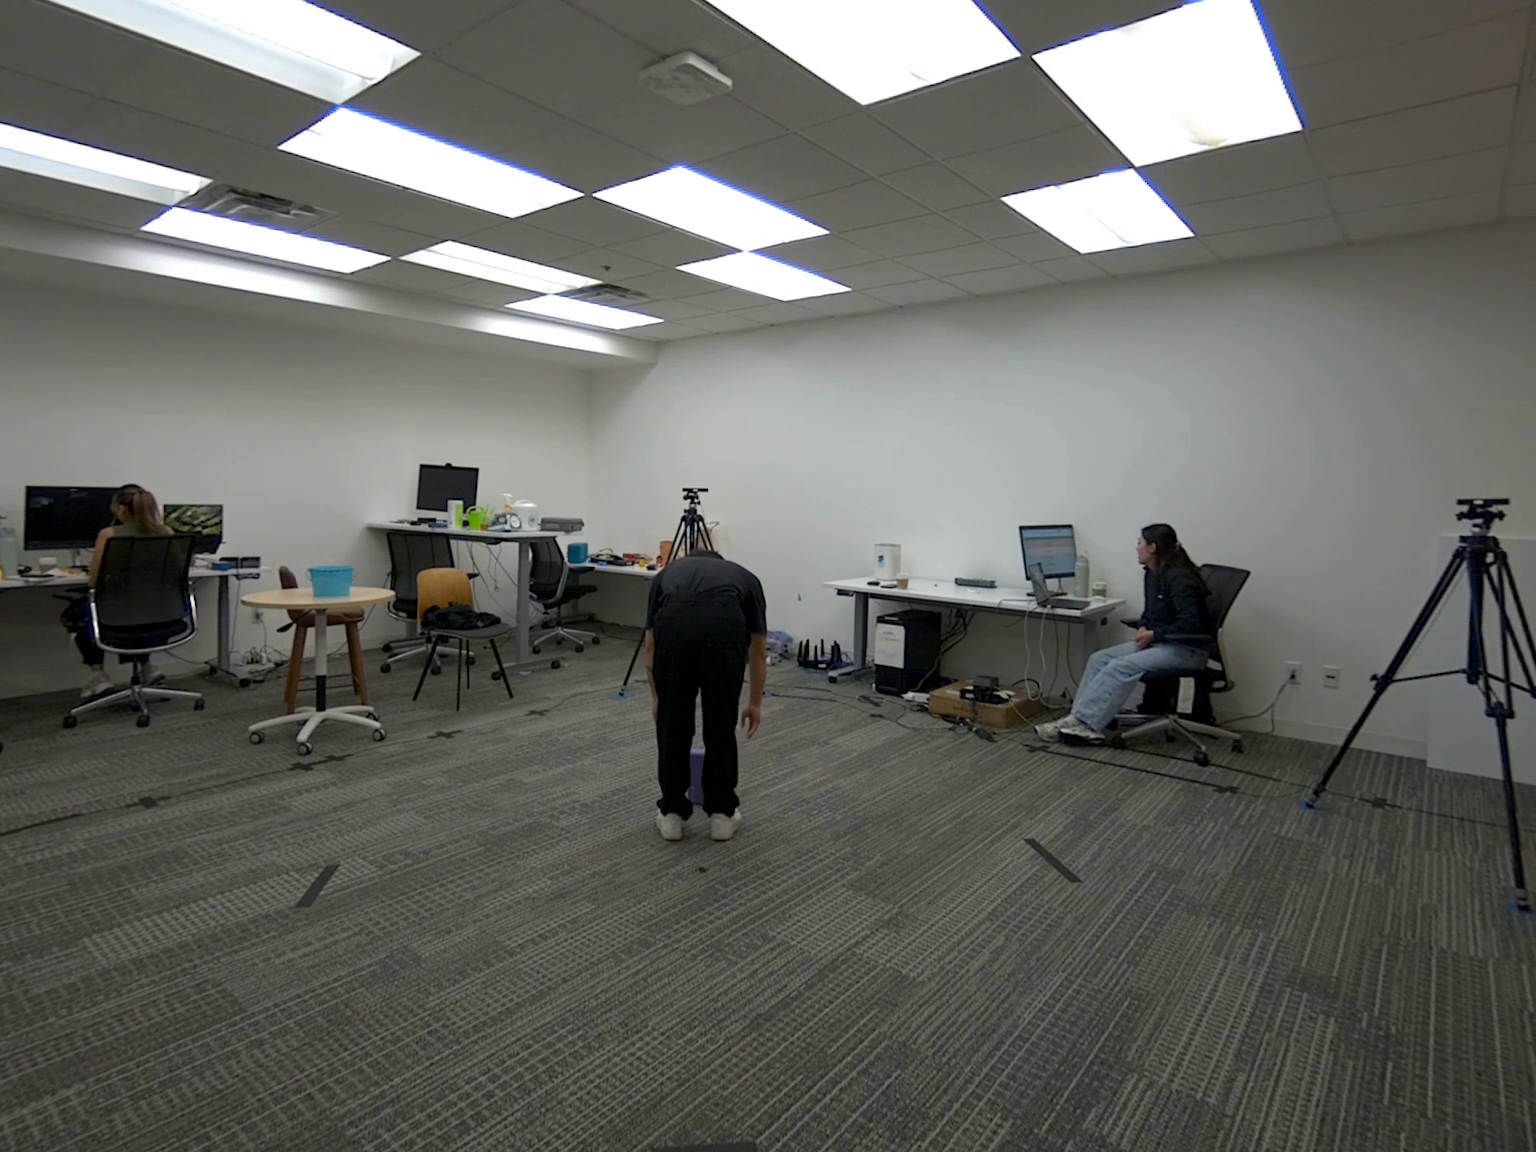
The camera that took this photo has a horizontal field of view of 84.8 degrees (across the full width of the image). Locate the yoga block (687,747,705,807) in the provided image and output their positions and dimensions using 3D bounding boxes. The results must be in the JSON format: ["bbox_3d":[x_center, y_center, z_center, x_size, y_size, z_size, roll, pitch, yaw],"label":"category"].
[{"bbox_3d":[-0.287,0.886,3.762,0.150,0.229,0.076,1,2,7],"label":"yoga block"}]
